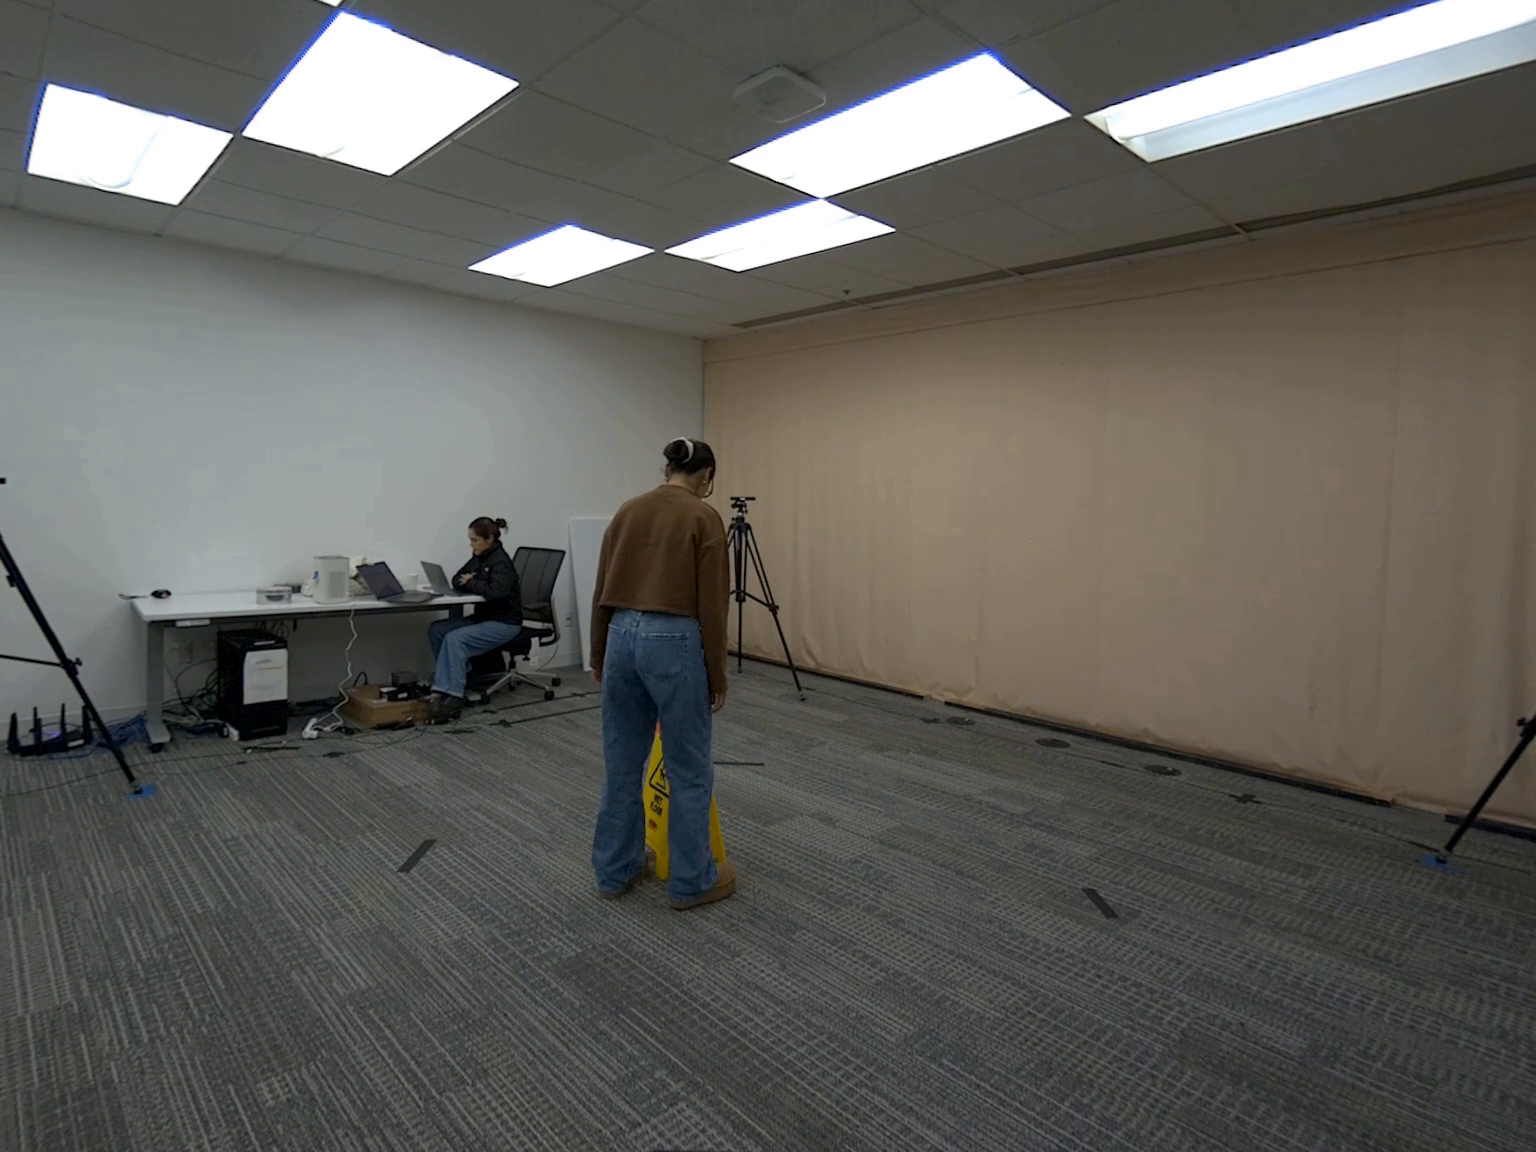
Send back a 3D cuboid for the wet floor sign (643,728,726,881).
[{"bbox_3d":[-0.341,0.771,3.217,0.283,0.644,0.289,0,4,-34],"label":"wet floor sign"}]
